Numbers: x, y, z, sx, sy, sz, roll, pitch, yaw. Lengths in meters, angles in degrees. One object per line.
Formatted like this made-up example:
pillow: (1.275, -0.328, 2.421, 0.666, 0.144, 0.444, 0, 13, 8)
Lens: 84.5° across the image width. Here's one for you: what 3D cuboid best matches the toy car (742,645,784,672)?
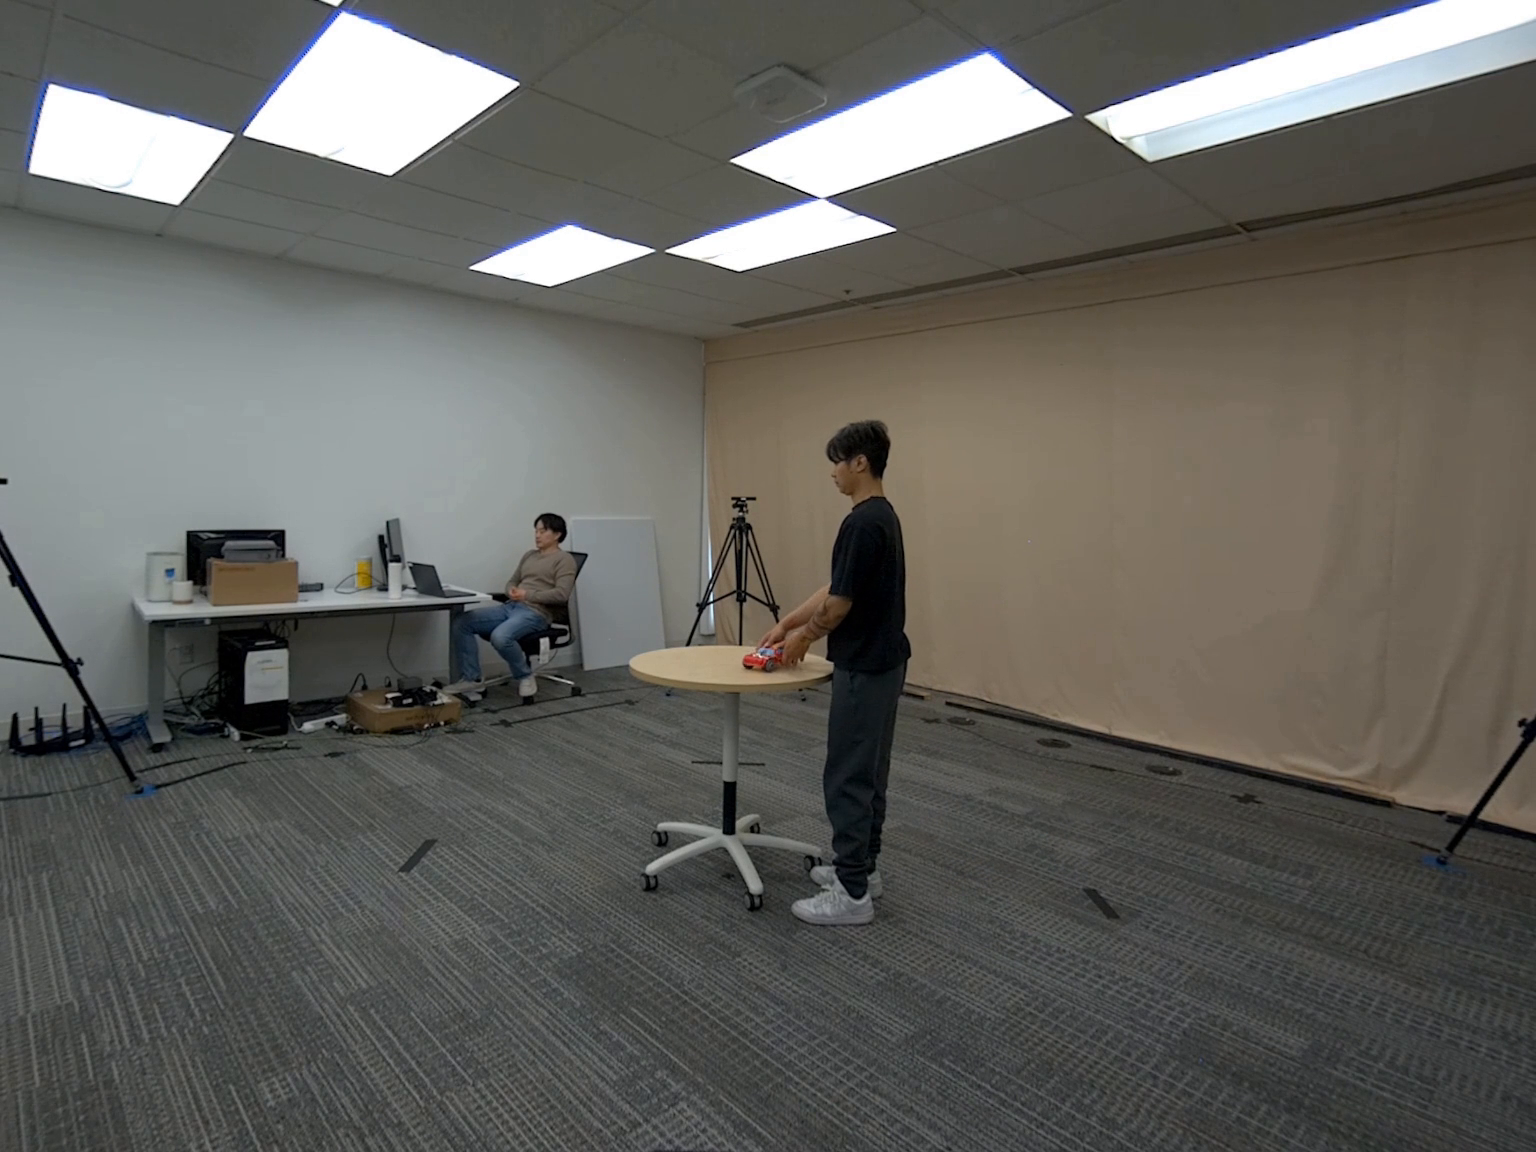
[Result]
toy car: (0.024, 0.292, 3.047, 0.133, 0.082, 0.251, 1, 15, 43)
